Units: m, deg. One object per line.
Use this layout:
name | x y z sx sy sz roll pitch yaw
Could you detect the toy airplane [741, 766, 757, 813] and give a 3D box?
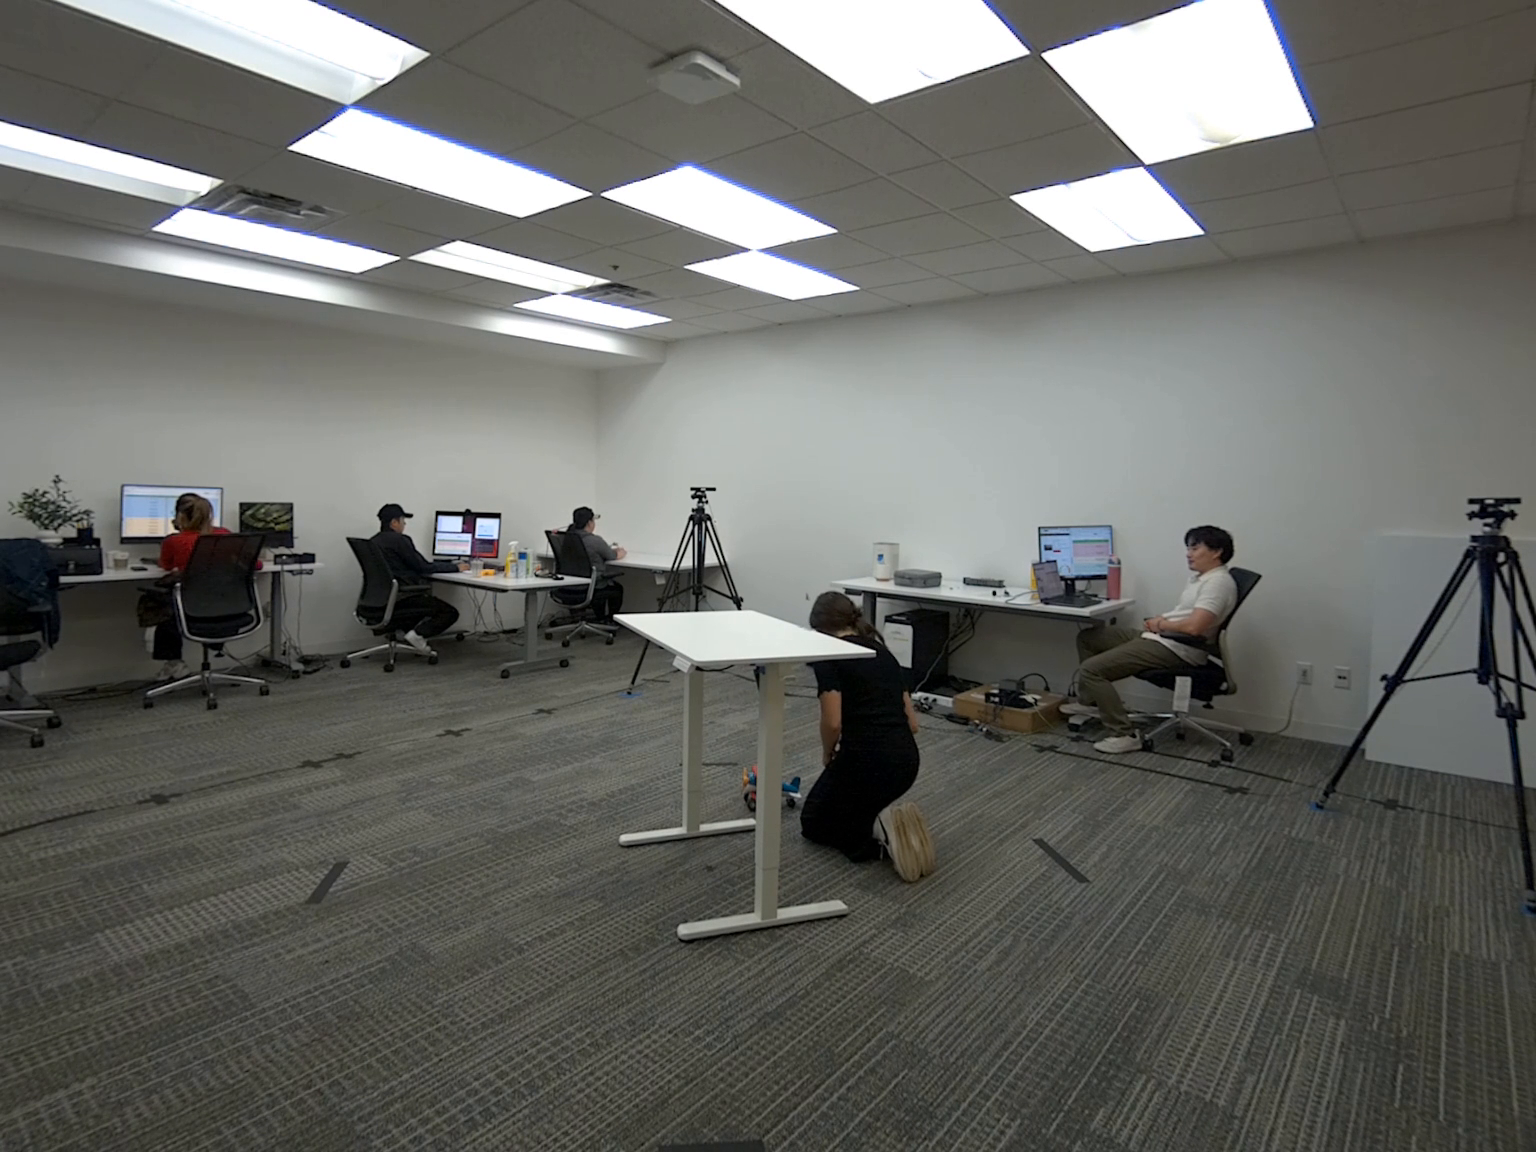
toy airplane | -0.004 0.931 3.759 0.252 0.156 0.259 -4 7 -38
